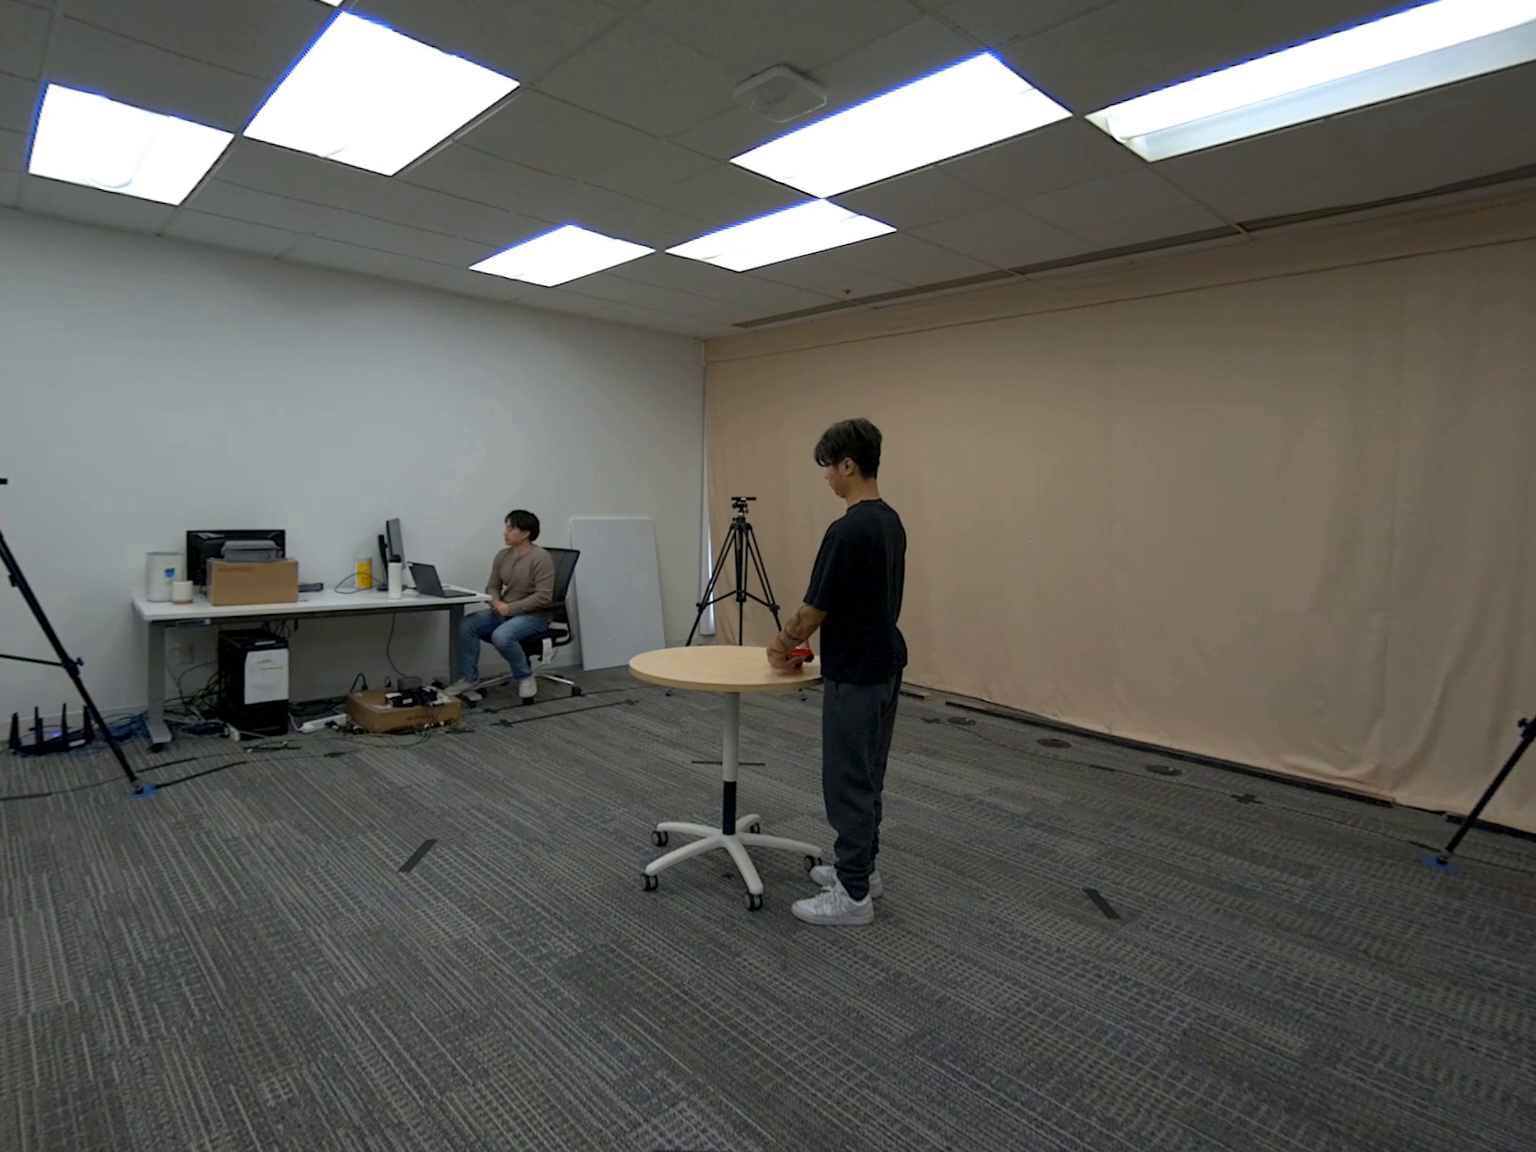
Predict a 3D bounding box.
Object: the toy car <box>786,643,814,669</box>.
[{"bbox_3d":[0.065,0.290,3.028,0.129,0.083,0.257,0,0,-12],"label":"toy car"}]
